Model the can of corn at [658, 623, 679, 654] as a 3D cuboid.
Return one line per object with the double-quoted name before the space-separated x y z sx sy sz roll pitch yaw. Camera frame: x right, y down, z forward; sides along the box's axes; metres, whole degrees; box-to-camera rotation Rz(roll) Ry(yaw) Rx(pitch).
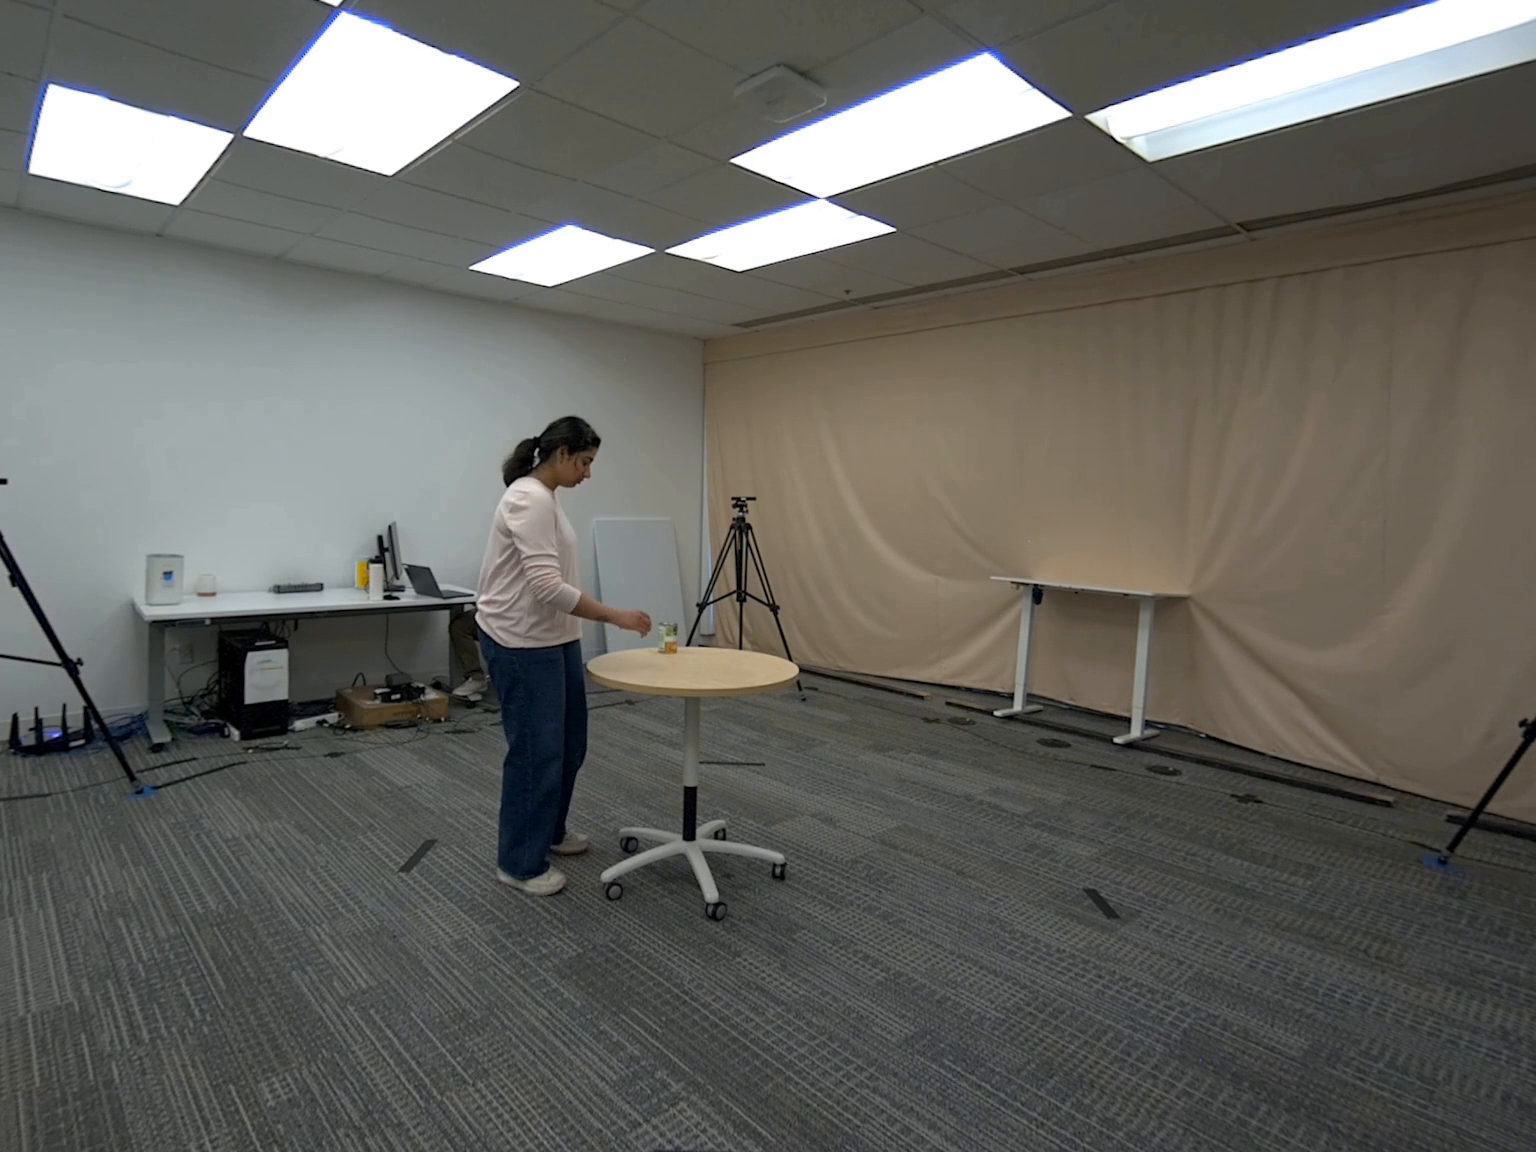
"can of corn" -0.406 0.244 3.290 0.074 0.111 0.074 0 3 -1
